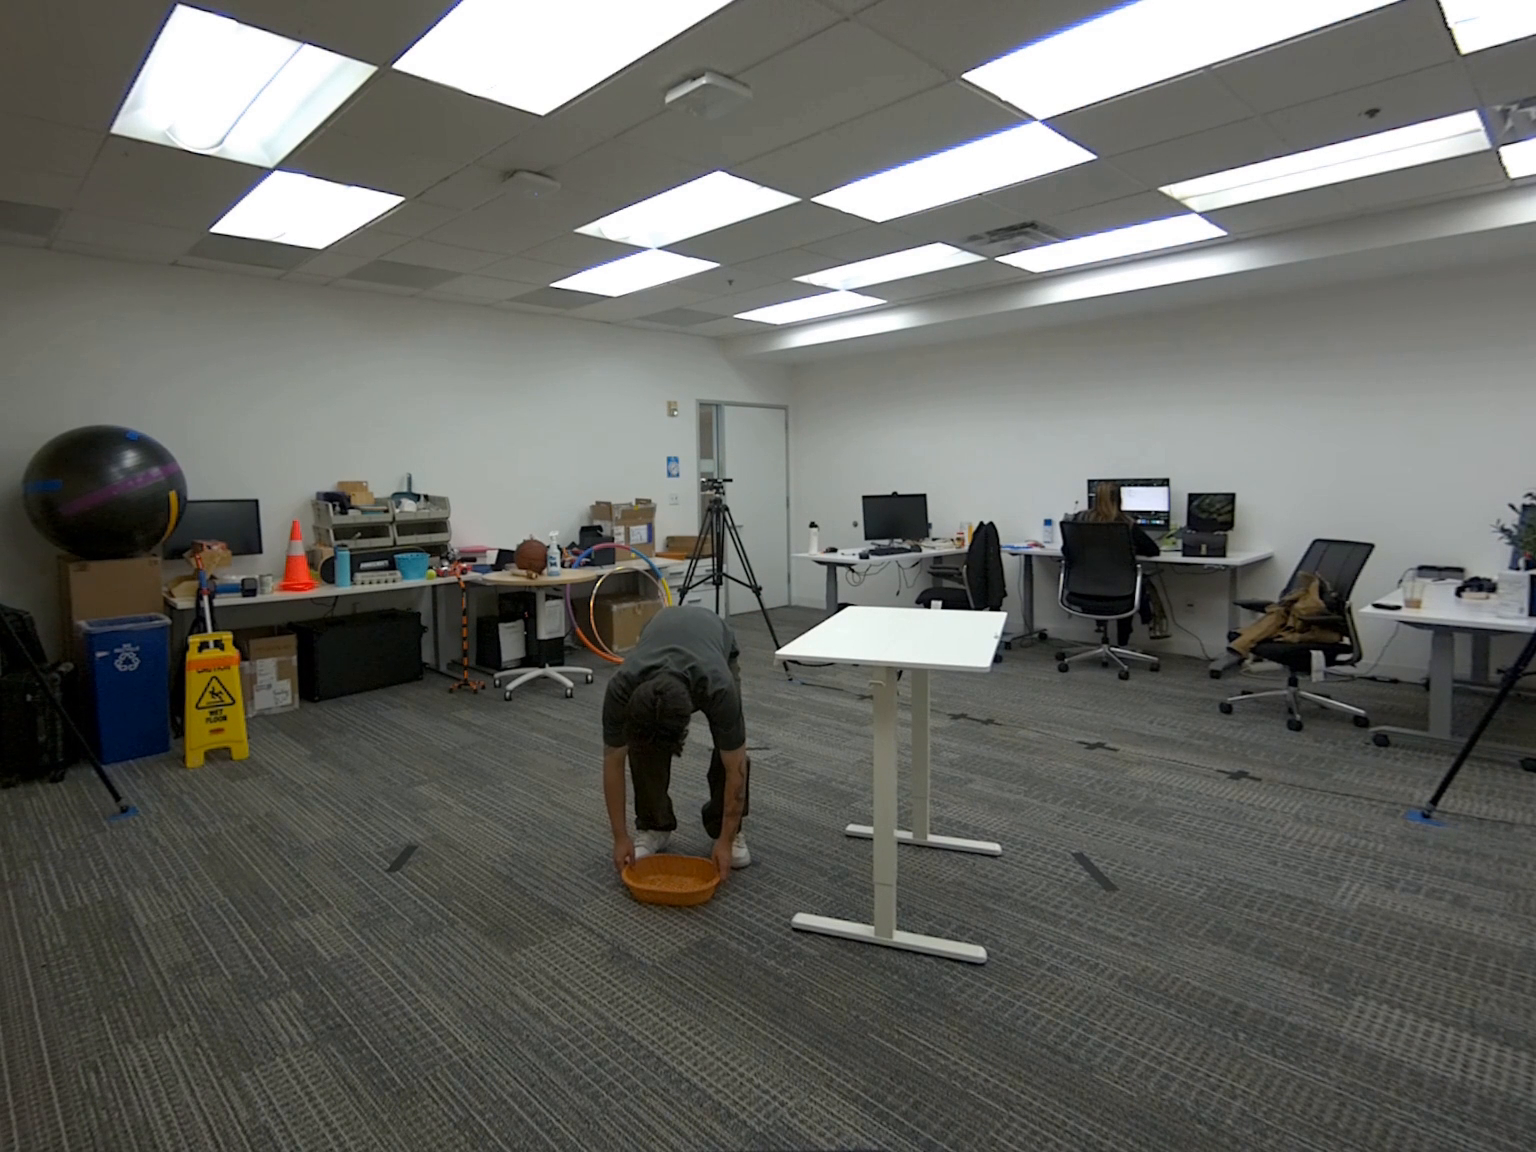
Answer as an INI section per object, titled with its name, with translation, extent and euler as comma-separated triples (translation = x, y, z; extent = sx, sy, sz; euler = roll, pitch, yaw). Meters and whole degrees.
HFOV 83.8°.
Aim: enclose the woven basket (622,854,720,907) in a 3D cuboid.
[woven basket]
translation = -0.328, 1.036, 2.900
extent = 0.357, 0.073, 0.249
euler = 1, 7, 20
